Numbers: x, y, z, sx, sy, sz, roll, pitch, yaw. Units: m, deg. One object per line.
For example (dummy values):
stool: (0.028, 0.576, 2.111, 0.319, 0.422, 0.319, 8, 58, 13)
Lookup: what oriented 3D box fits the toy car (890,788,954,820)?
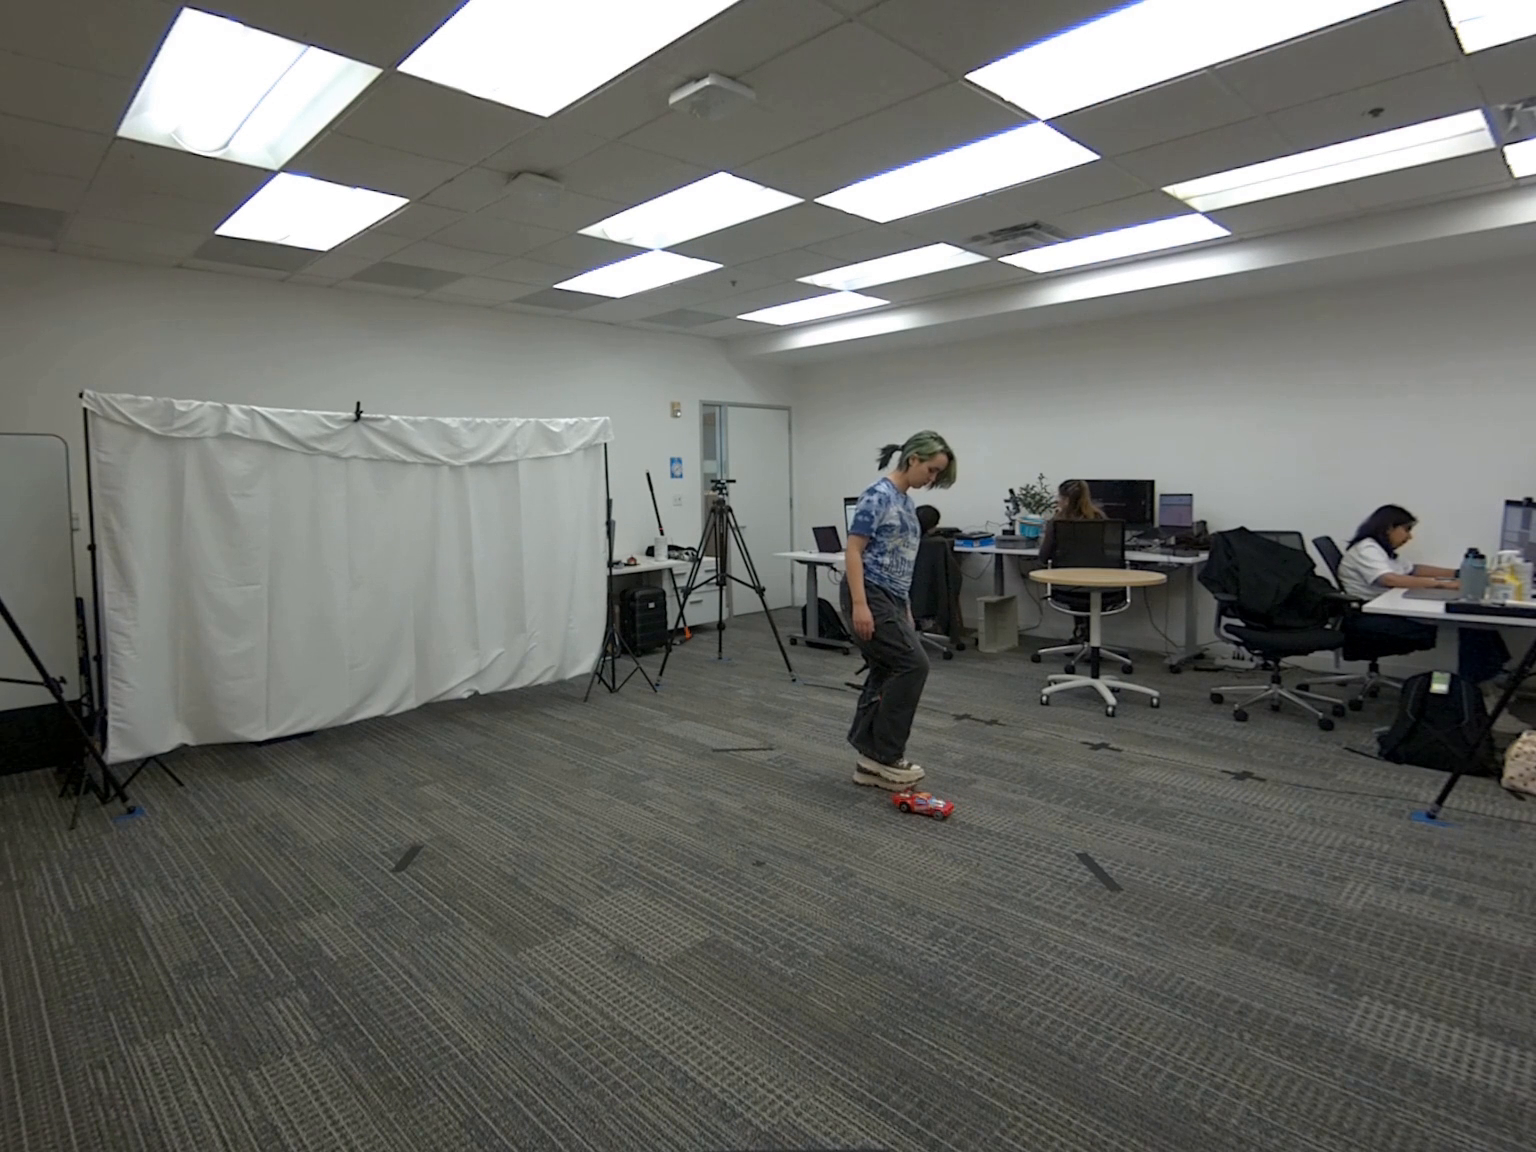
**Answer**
toy car: (0.641, 0.955, 3.567, 0.263, 0.082, 0.127, 15, 13, 32)
